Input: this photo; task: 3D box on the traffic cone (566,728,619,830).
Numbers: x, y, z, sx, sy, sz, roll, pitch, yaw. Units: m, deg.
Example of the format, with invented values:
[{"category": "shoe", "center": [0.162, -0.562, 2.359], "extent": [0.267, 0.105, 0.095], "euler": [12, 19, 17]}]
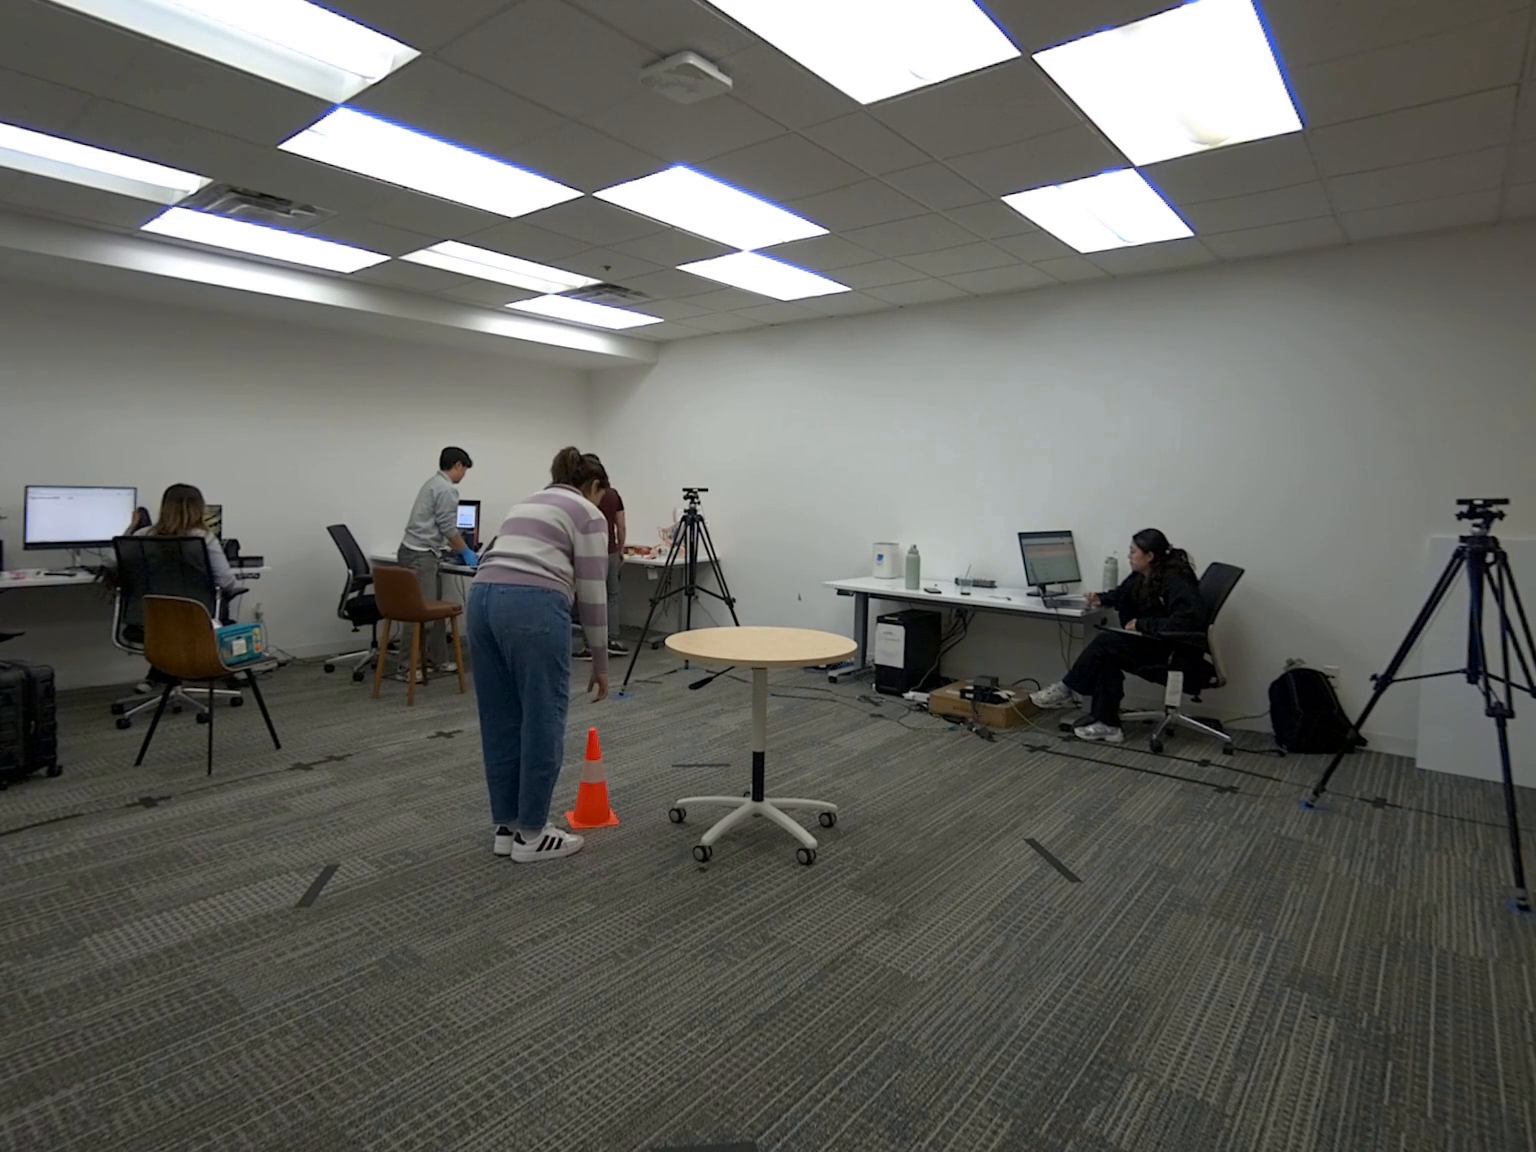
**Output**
[{"category": "traffic cone", "center": [-0.749, 0.833, 3.576], "extent": [0.199, 0.383, 0.210], "euler": [2, 2, -23]}]
